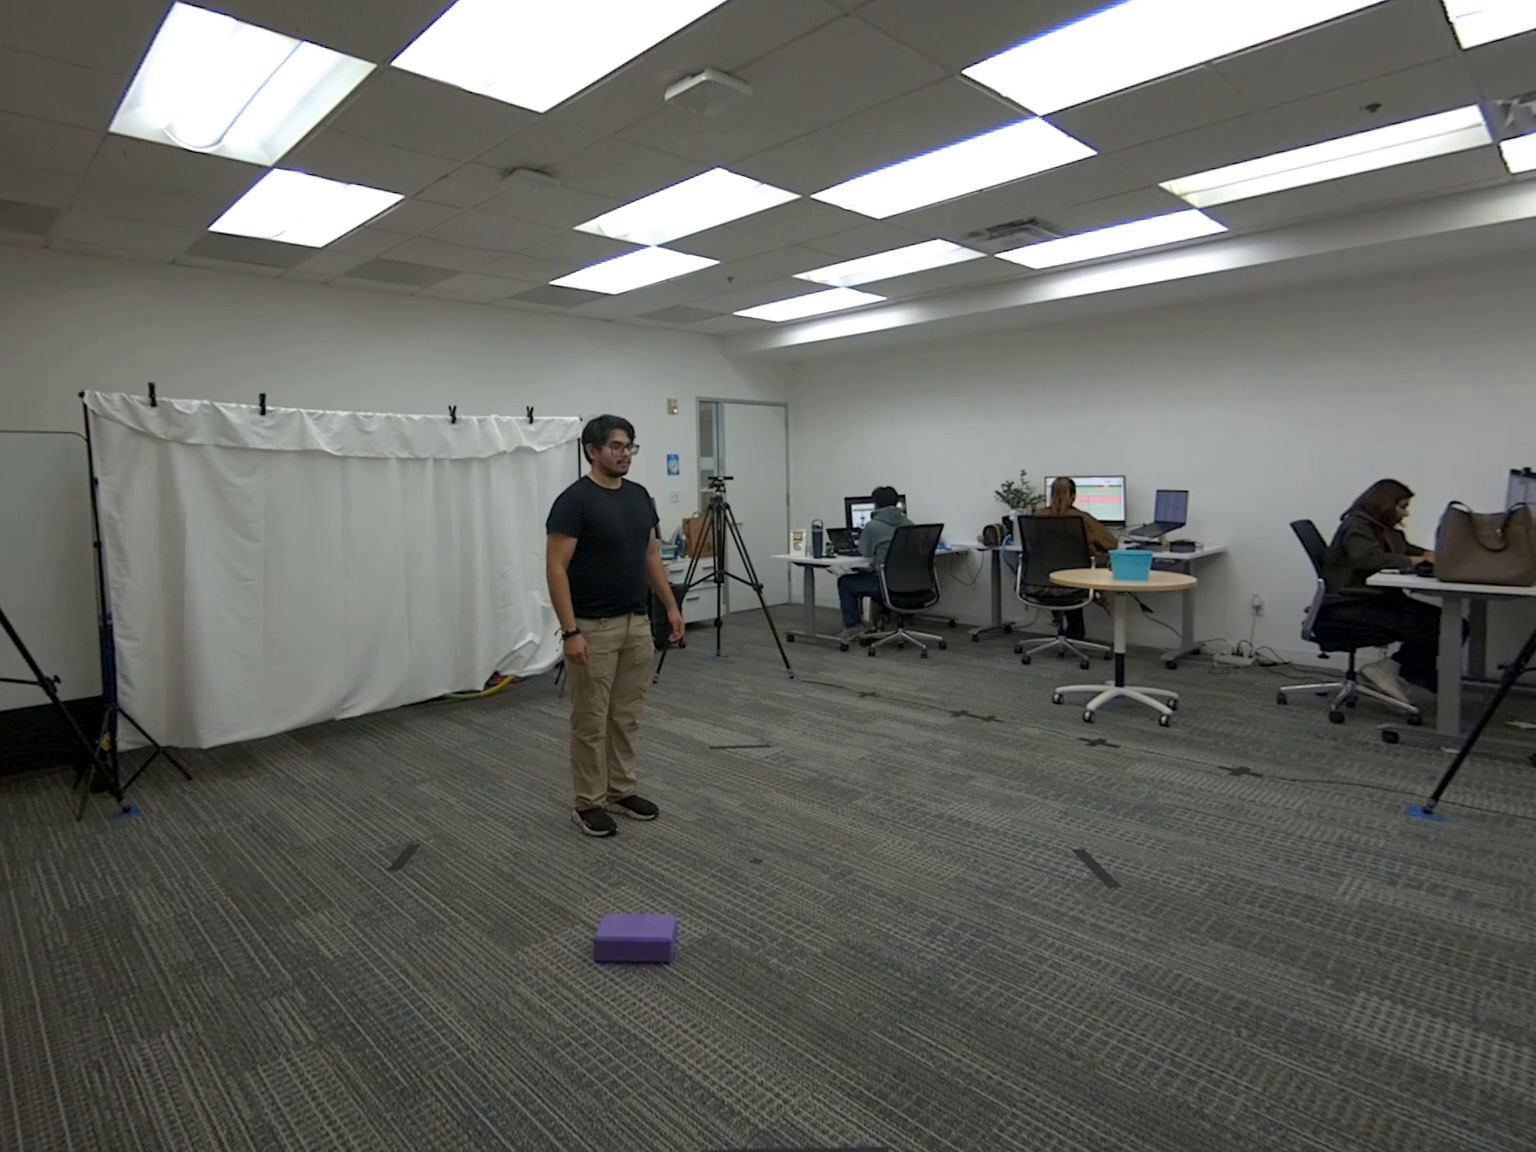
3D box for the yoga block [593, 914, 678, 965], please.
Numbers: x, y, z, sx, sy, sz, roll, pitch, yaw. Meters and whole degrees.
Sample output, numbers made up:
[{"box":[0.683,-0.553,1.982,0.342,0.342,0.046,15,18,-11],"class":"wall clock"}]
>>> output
[{"box":[-0.383,1.073,2.536,0.230,0.076,0.149,-1,3,3],"class":"yoga block"}]
